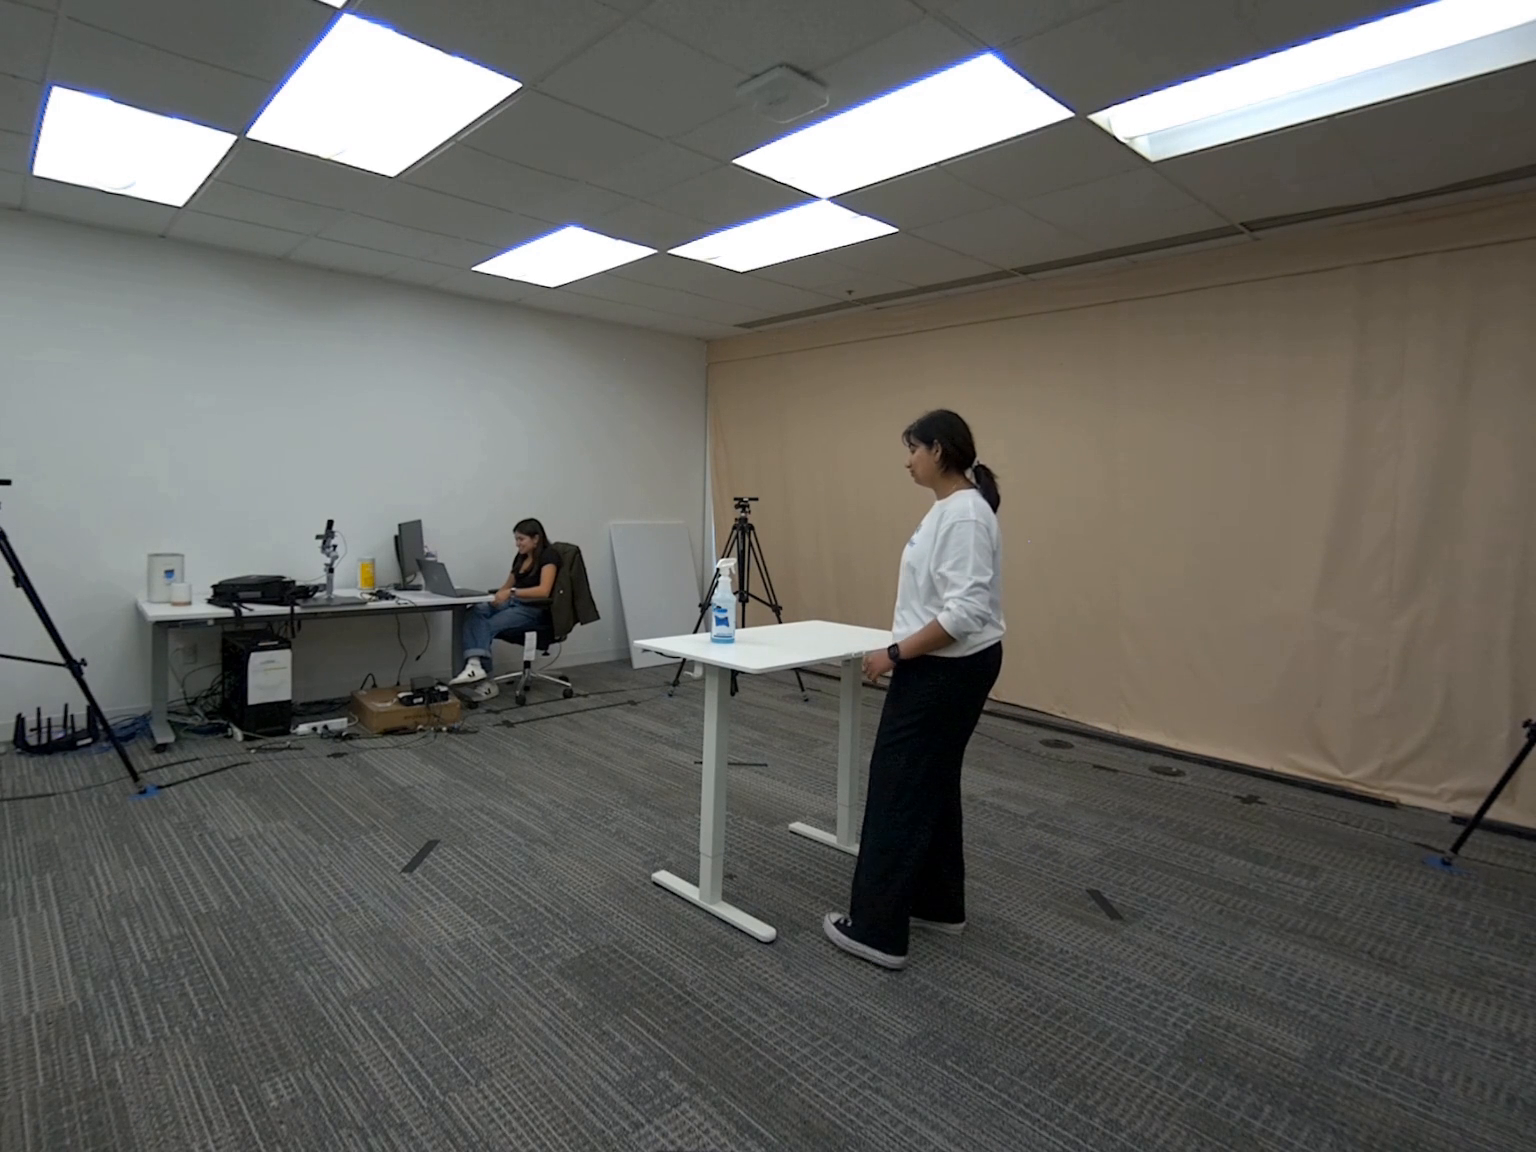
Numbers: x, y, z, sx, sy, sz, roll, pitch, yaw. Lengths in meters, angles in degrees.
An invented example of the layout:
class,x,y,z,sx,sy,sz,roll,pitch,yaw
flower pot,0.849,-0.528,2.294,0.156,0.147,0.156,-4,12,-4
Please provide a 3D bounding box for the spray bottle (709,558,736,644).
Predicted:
class,x,y,z,sx,sy,sz,roll,pitch,yaw
spray bottle,-0.156,0.087,2.990,0.089,0.297,0.088,3,1,-18
